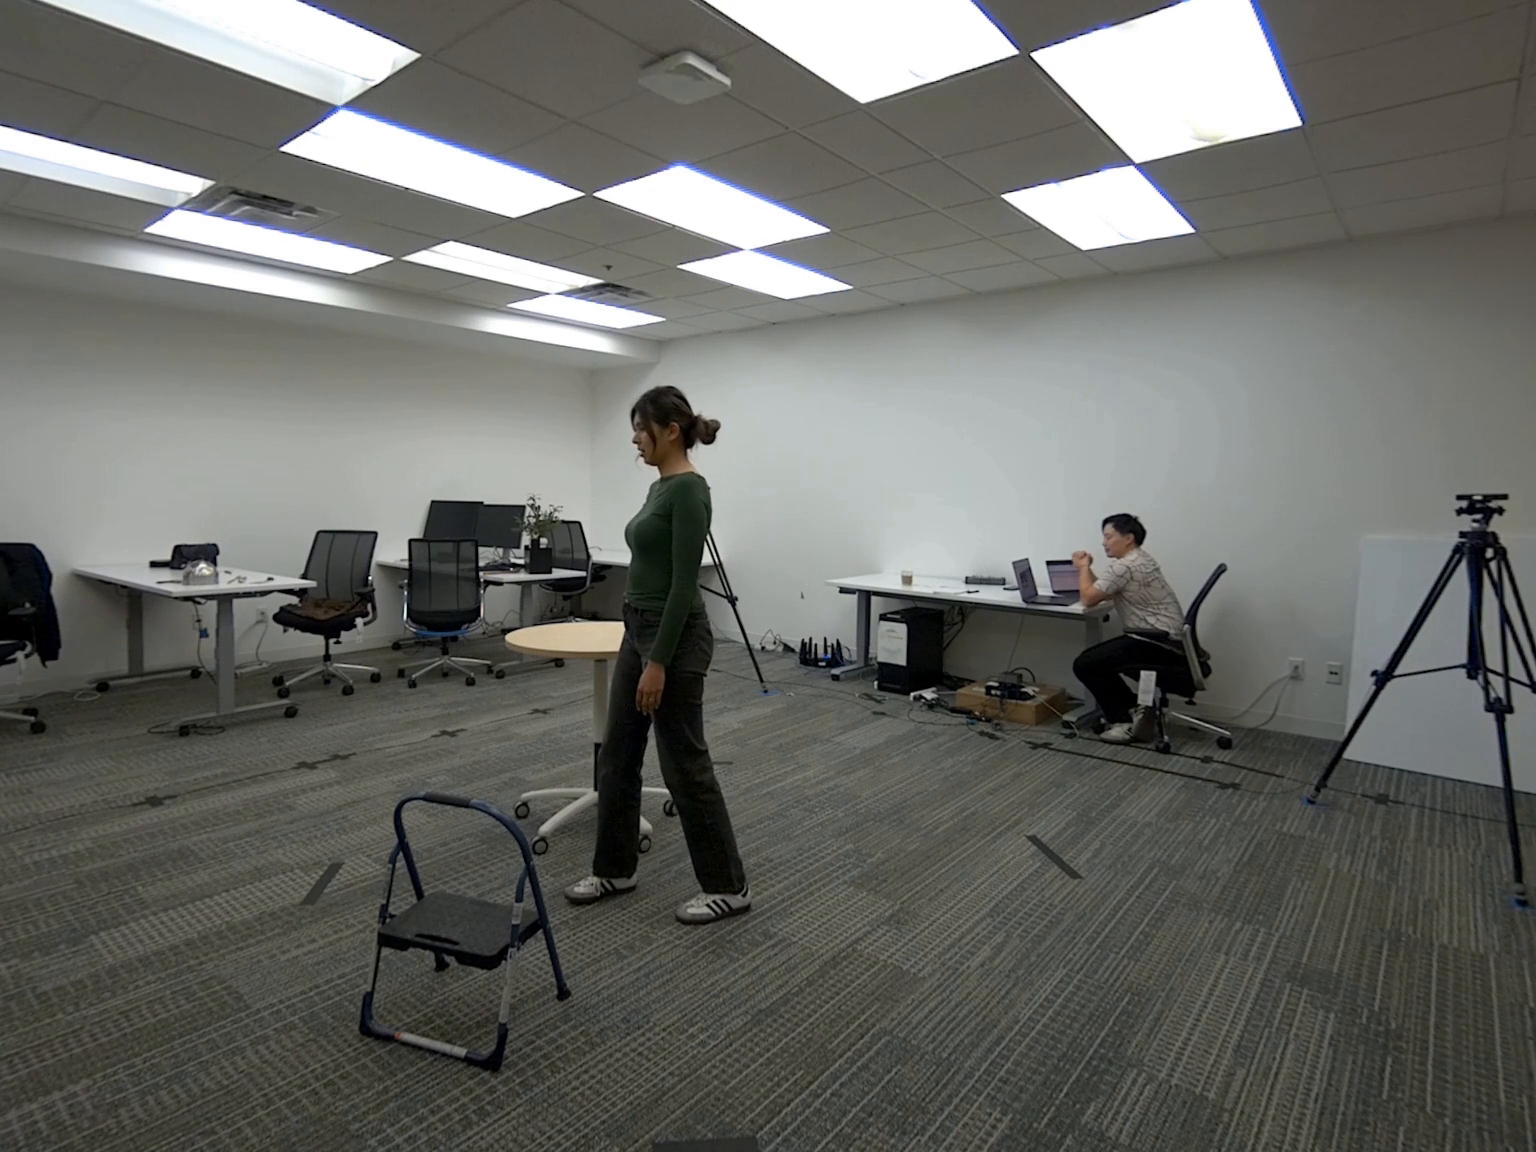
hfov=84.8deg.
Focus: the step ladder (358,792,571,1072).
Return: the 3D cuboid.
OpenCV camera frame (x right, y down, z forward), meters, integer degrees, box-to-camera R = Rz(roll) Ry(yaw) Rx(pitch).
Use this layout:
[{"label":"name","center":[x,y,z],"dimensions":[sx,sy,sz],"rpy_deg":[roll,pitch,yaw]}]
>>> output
[{"label":"step ladder","center":[-0.801,0.847,2.216],"dimensions":[0.439,0.604,0.344],"rpy_deg":[2,4,17]}]
